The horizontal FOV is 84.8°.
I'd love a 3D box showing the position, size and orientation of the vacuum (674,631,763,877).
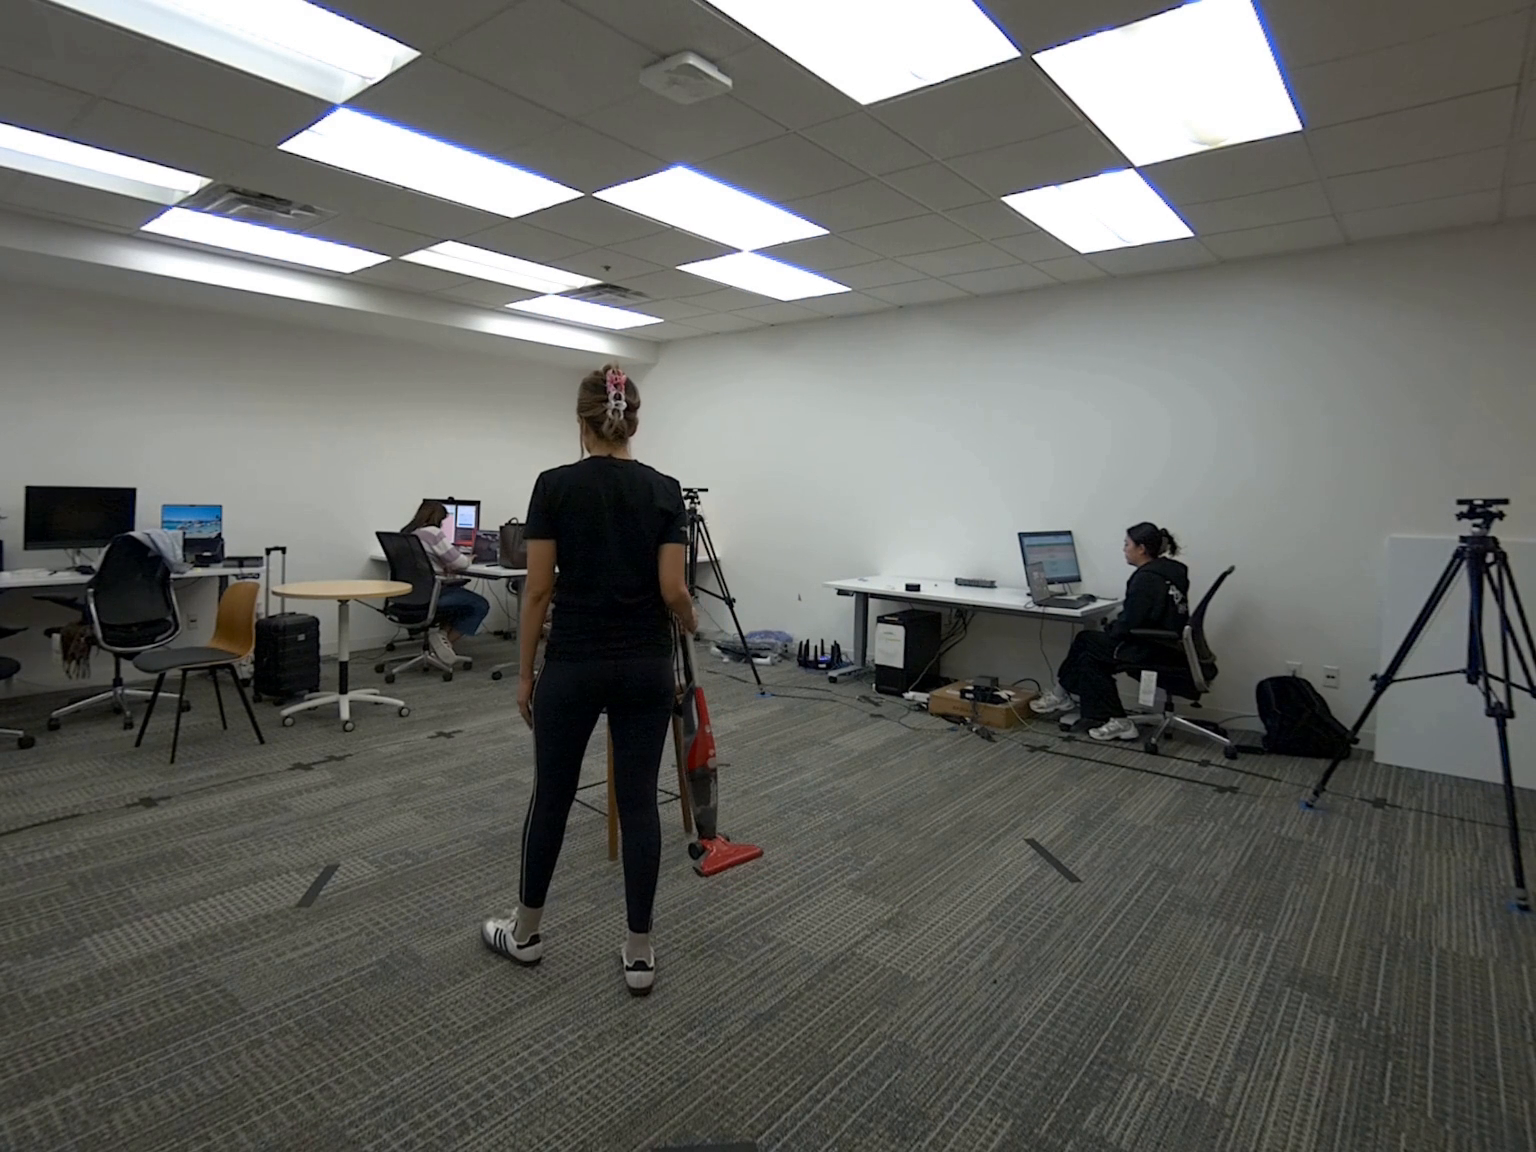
[{"bbox_3d":[-0.258,0.358,2.701,0.245,1.063,0.146,0,-16,-45],"label":"vacuum"}]
